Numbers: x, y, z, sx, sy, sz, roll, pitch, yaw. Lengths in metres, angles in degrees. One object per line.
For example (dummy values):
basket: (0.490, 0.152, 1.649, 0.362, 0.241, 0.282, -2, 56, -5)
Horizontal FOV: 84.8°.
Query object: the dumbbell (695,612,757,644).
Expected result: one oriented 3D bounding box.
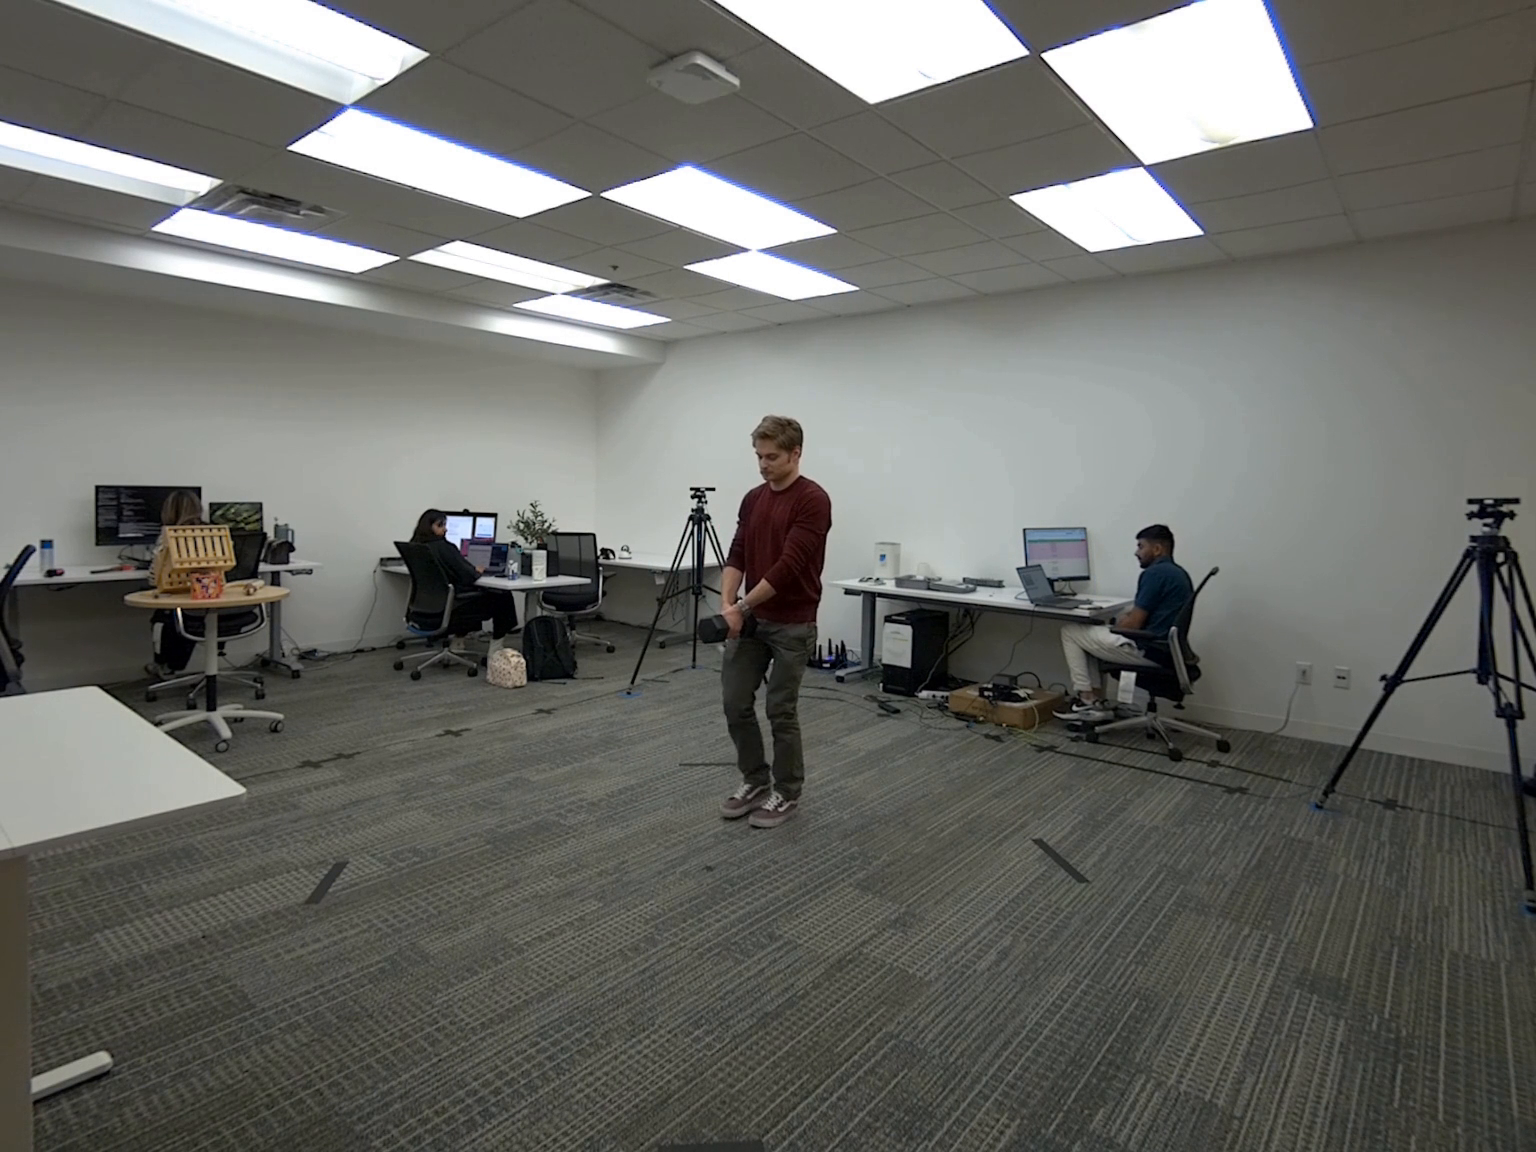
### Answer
dumbbell: (-0.174, 0.201, 3.375, 0.109, 0.126, 0.285, -43, -22, 27)
